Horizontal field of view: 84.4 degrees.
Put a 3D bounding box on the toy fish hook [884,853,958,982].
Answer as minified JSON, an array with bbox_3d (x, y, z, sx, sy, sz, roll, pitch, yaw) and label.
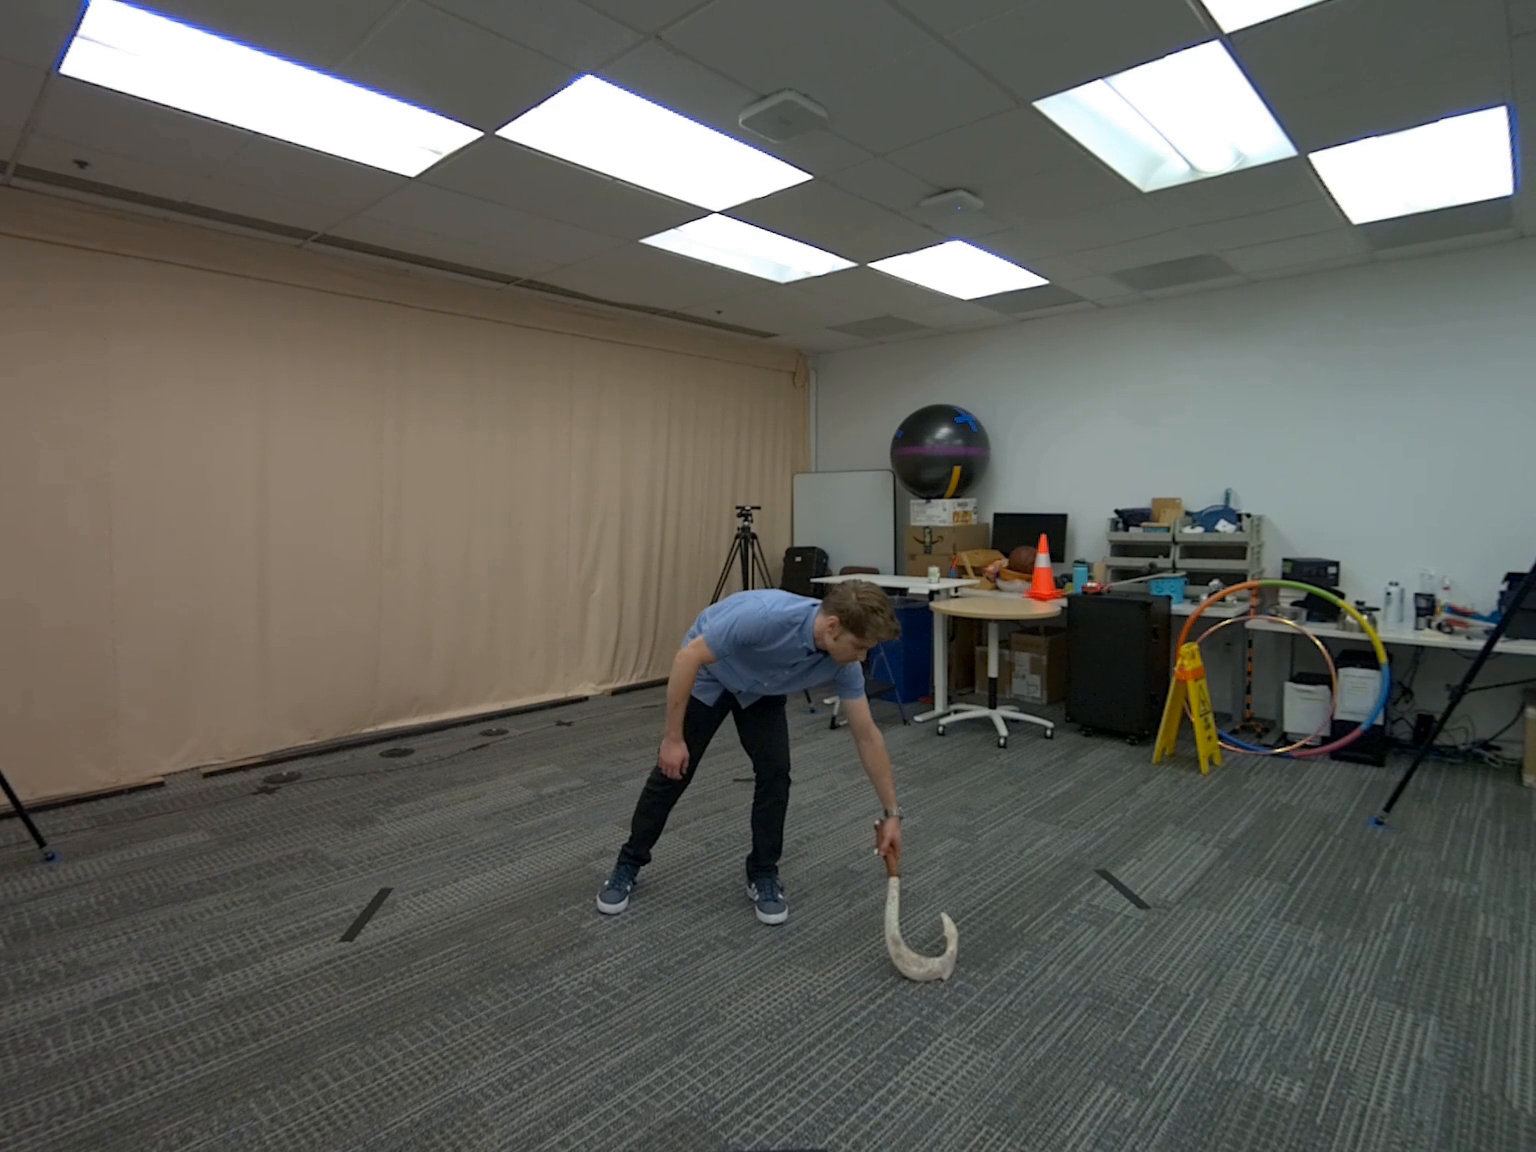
[{"bbox_3d":[0.459,1.003,2.644,0.222,0.048,0.518,3,46,-10],"label":"toy fish hook"}]
